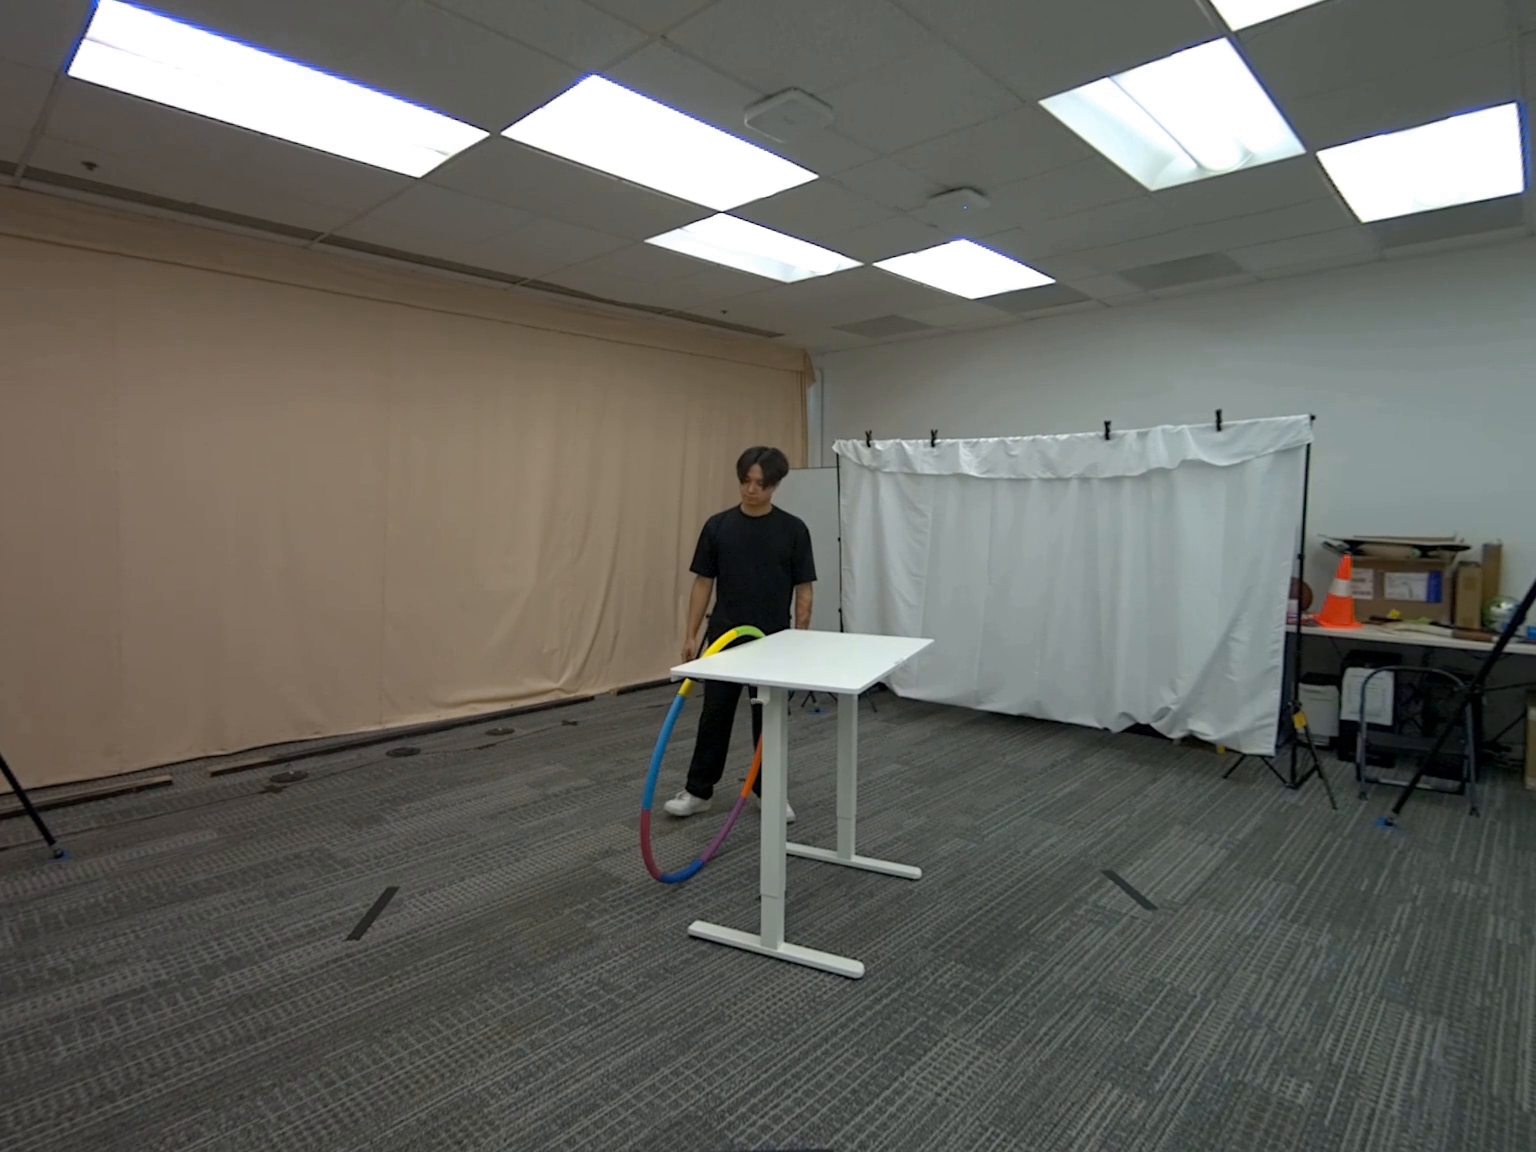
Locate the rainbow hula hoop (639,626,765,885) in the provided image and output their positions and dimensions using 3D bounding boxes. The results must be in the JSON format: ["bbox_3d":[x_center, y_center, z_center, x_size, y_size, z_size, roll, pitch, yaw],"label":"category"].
[{"bbox_3d":[-0.196,0.661,3.135,0.036,0.975,0.956,15,9,22],"label":"rainbow hula hoop"}]
